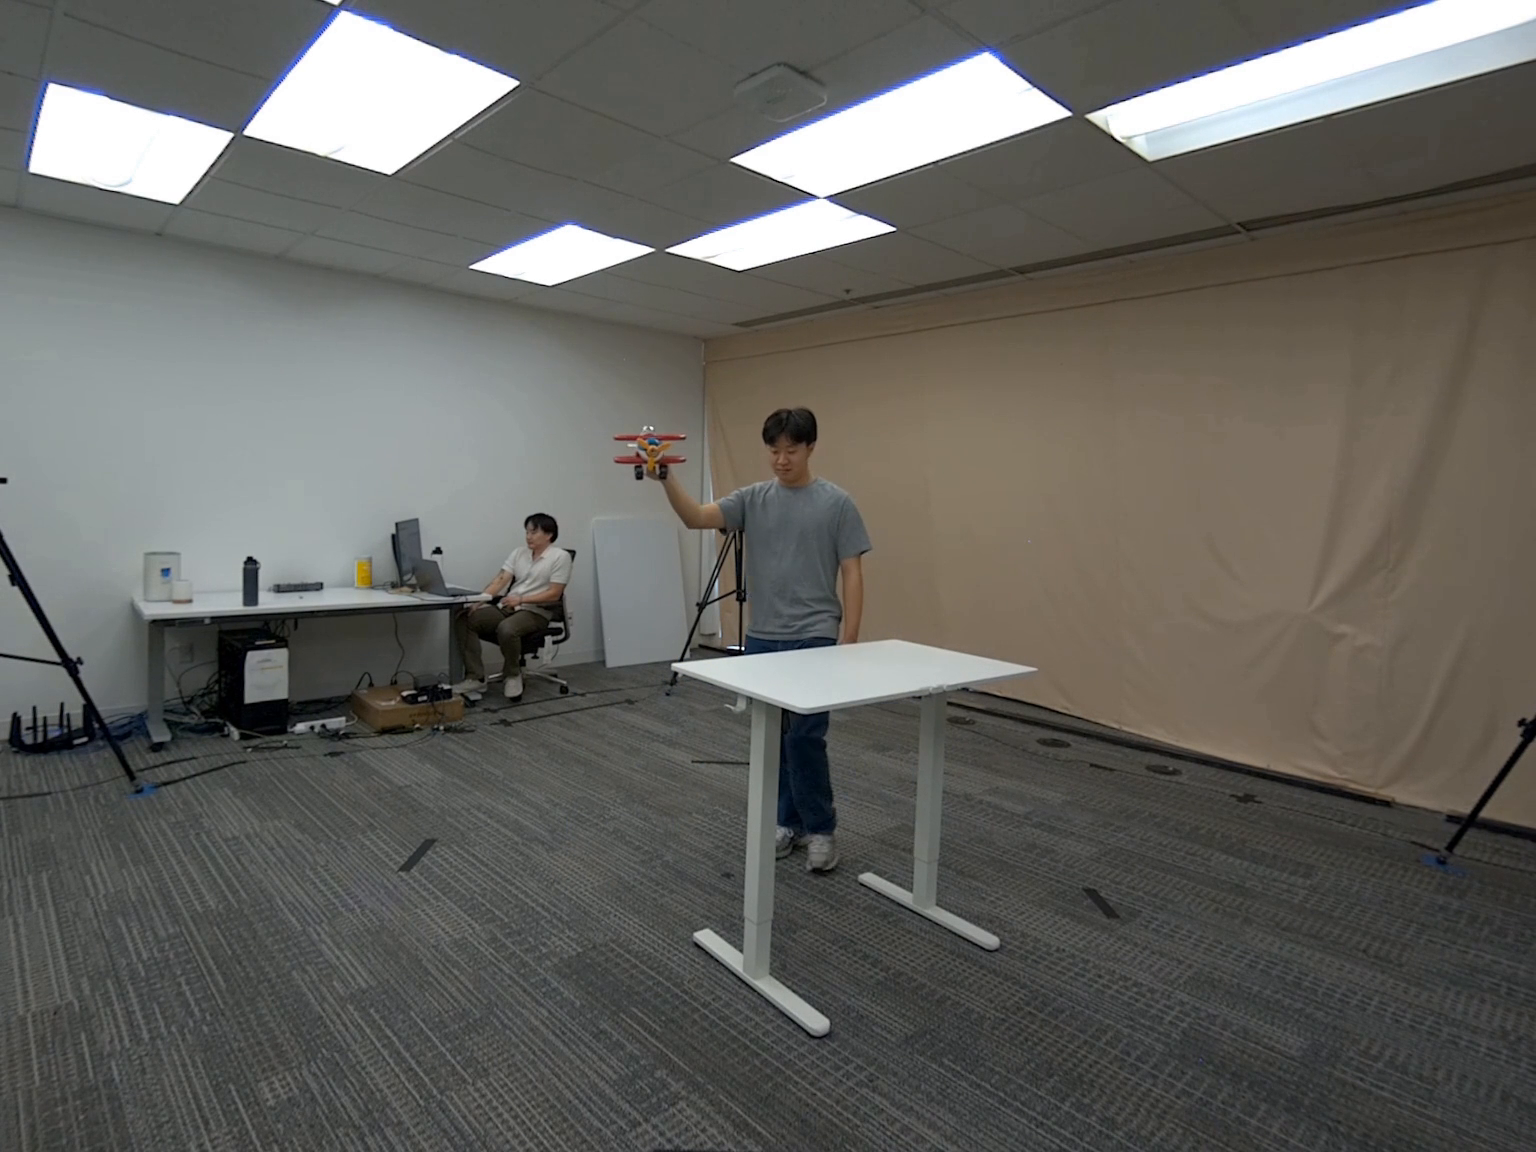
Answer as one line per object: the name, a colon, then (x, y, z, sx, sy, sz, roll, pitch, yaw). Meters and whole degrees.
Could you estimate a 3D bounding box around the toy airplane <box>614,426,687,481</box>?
toy airplane: (-0.453, -0.445, 2.986, 0.247, 0.154, 0.267, -18, 36, -38)
